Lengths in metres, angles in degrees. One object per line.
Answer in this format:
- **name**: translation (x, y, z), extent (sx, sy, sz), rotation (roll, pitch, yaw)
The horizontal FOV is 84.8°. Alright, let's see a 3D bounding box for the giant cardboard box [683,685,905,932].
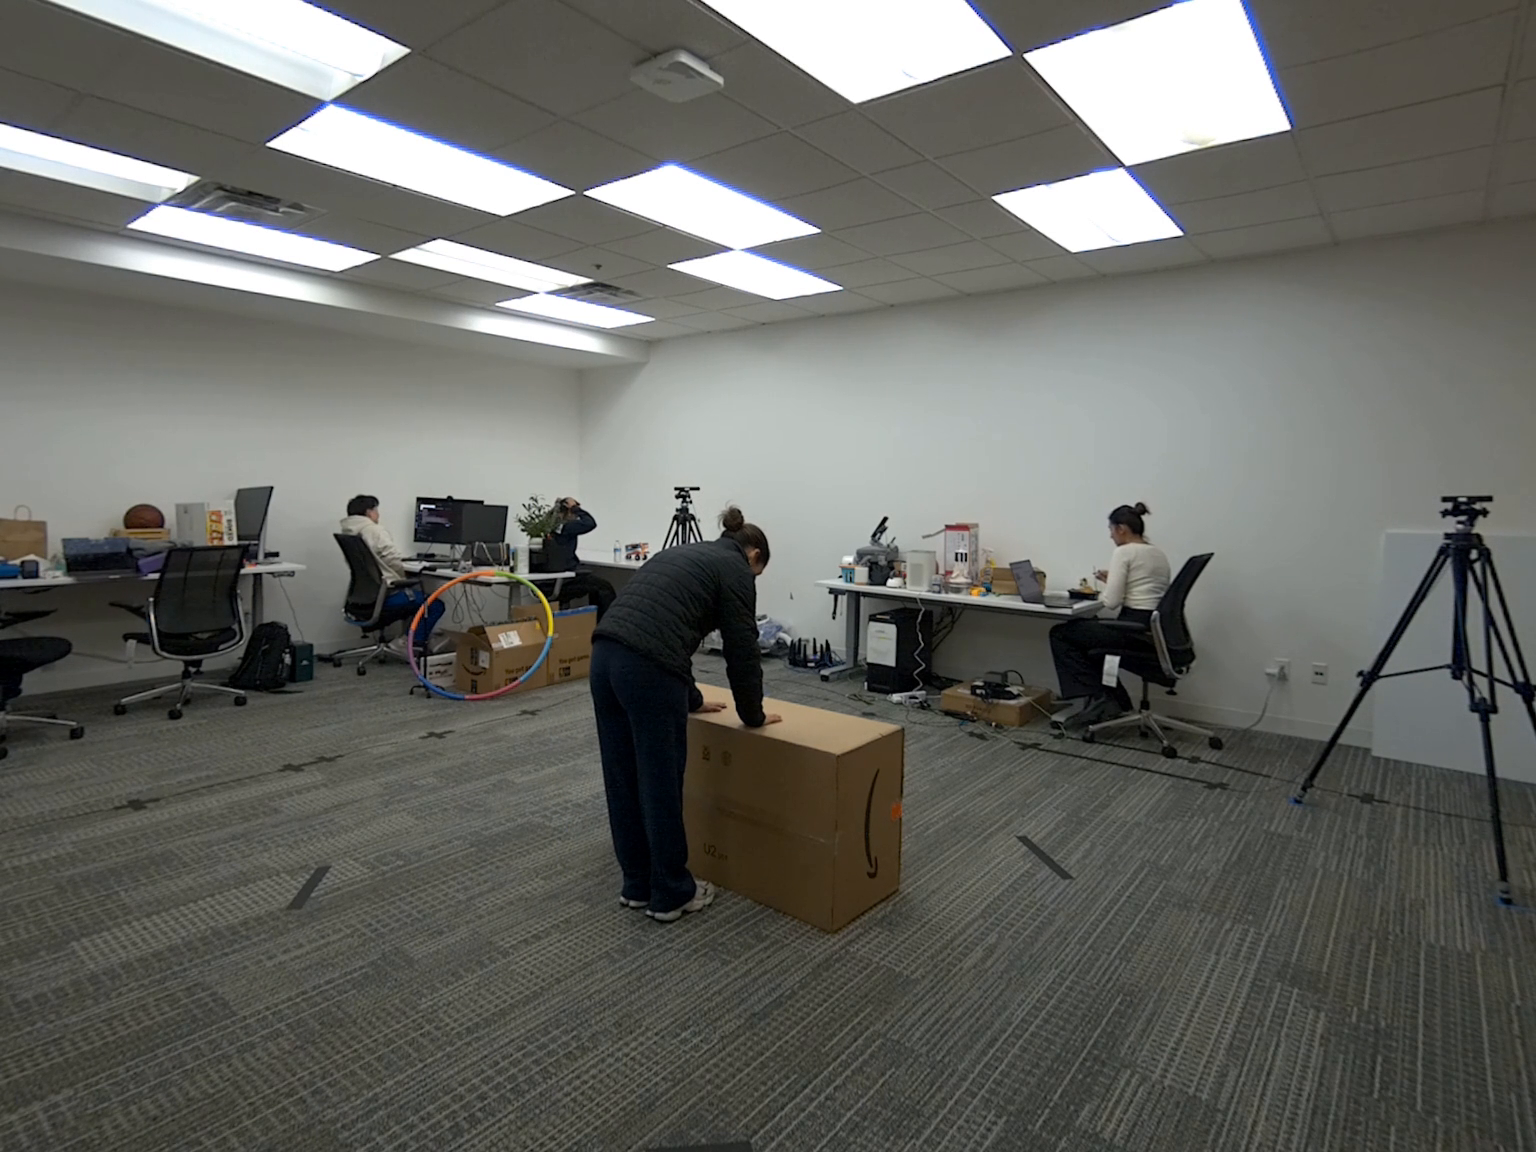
- **giant cardboard box**: translation (-0.048, 0.780, 3.150), extent (1.062, 0.581, 0.434), rotation (5, 7, 41)
